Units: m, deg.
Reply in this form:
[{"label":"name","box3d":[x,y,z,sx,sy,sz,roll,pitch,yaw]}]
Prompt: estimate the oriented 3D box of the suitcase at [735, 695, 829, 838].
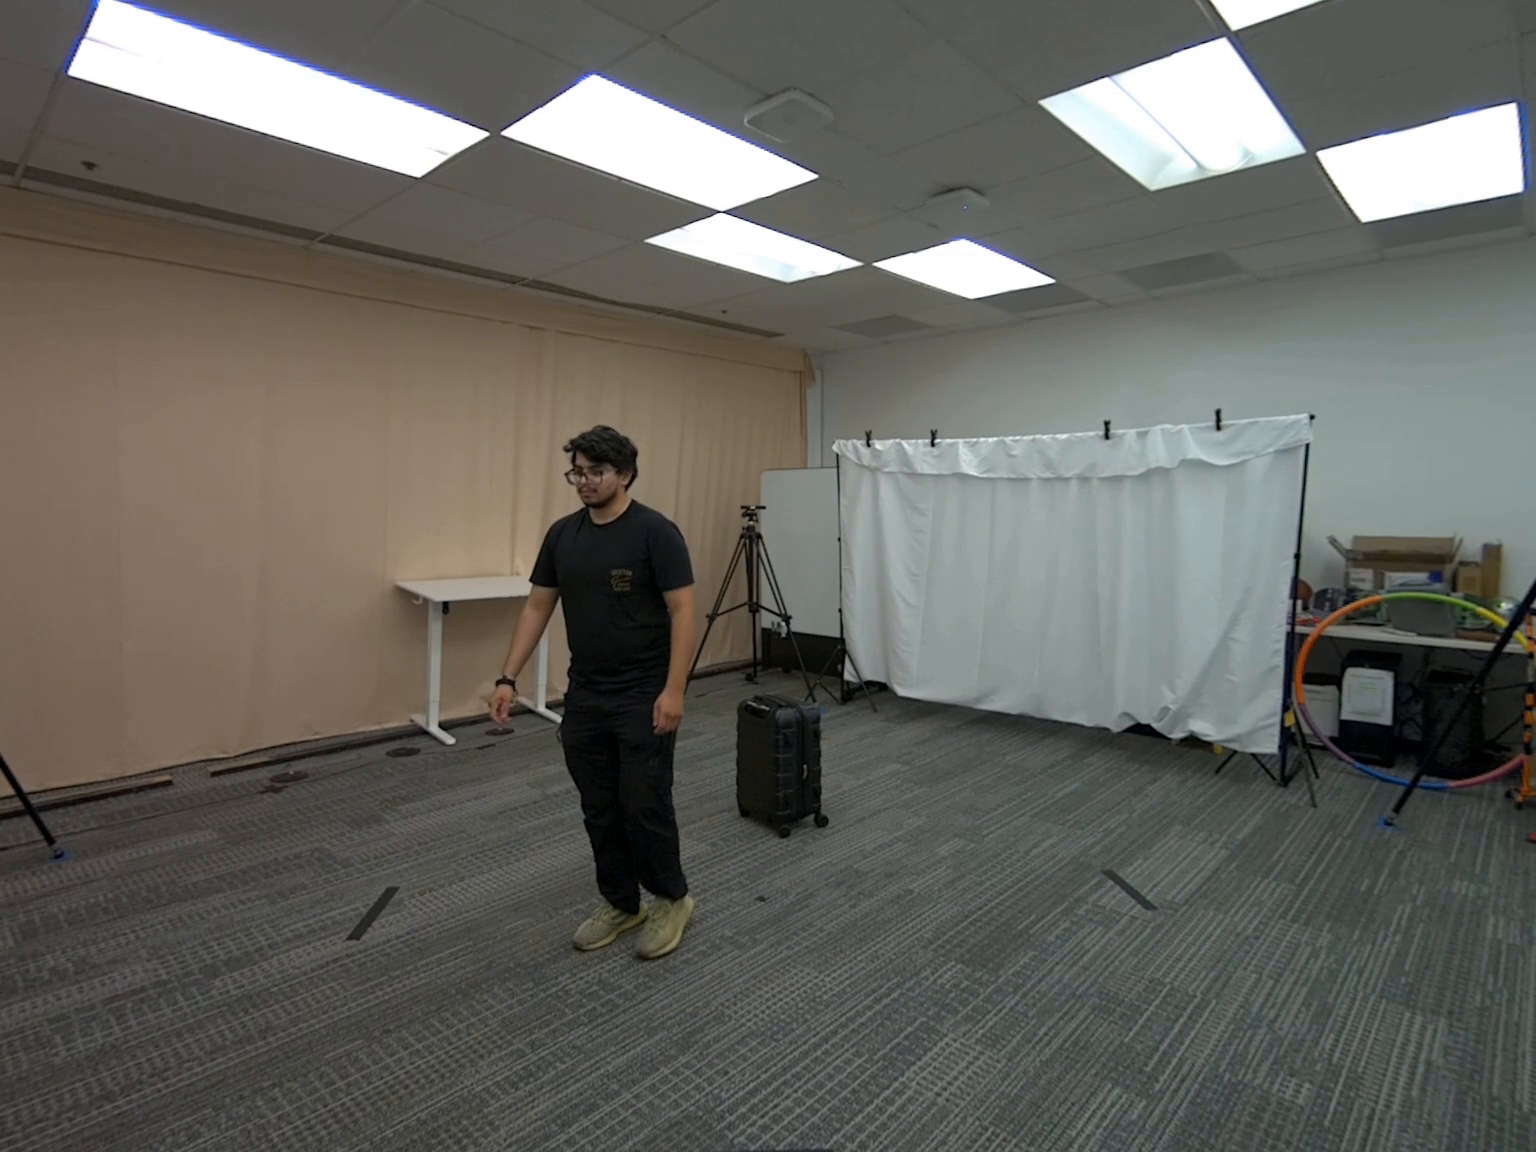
[{"label":"suitcase","box3d":[0.052,0.809,3.710,0.241,0.548,0.387,-4,5,-35]}]
